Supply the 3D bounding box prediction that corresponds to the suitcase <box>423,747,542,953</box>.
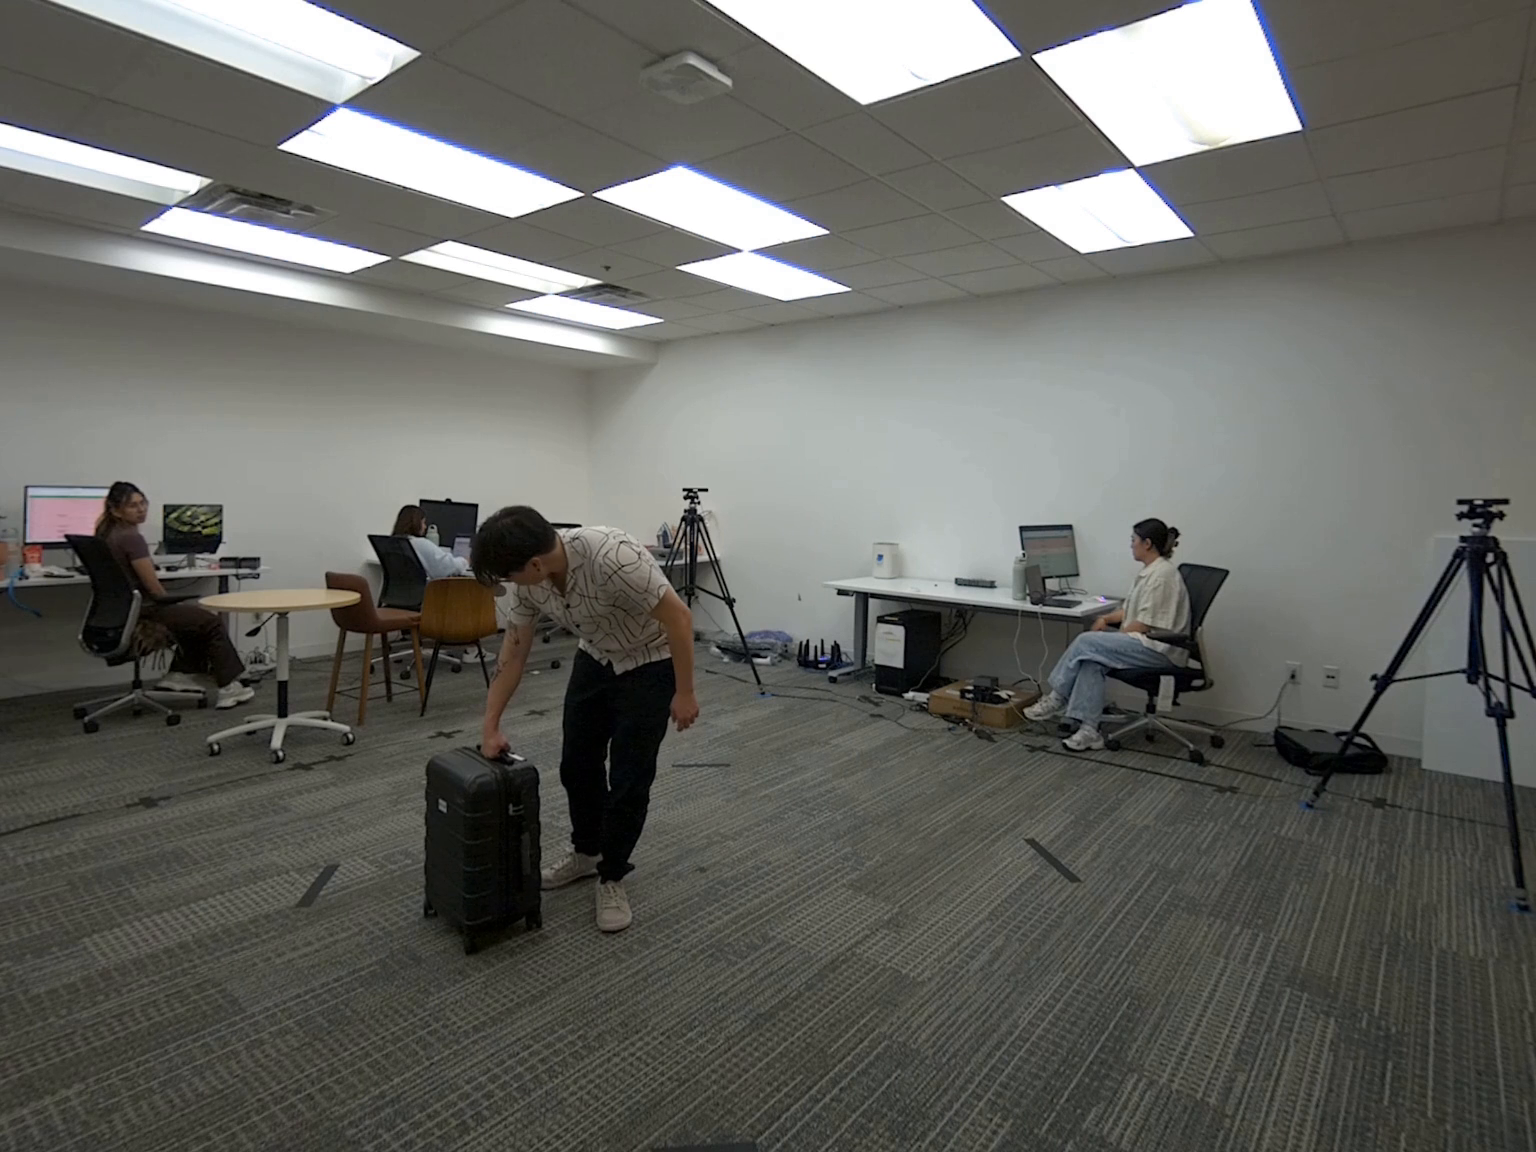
[{"bbox_3d":[-0.914,0.827,2.674,0.241,0.547,0.388,-3,7,-42],"label":"suitcase"}]
